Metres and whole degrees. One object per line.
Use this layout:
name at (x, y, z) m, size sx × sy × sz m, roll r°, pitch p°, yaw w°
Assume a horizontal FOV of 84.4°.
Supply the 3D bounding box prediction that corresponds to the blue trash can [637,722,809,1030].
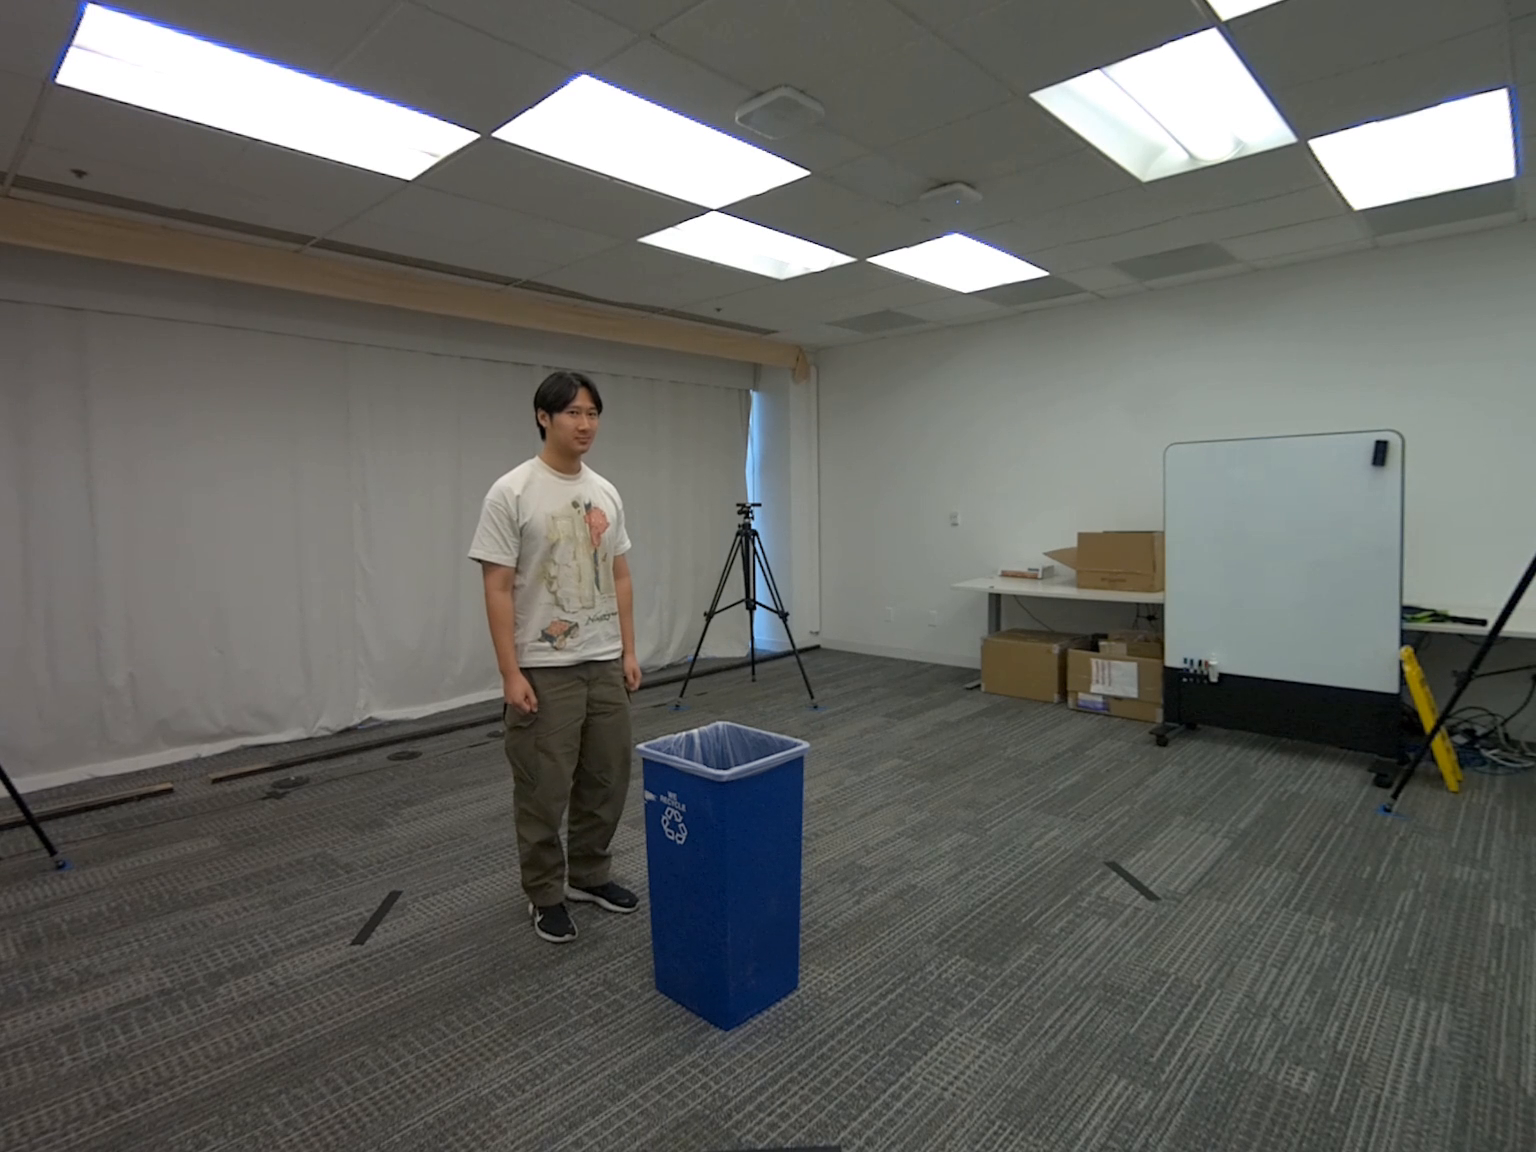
blue trash can at (-0.112, 0.833, 2.400) m, size 0.386 × 0.712 × 0.366 m, roll 2°, pitch 5°, yaw 44°
